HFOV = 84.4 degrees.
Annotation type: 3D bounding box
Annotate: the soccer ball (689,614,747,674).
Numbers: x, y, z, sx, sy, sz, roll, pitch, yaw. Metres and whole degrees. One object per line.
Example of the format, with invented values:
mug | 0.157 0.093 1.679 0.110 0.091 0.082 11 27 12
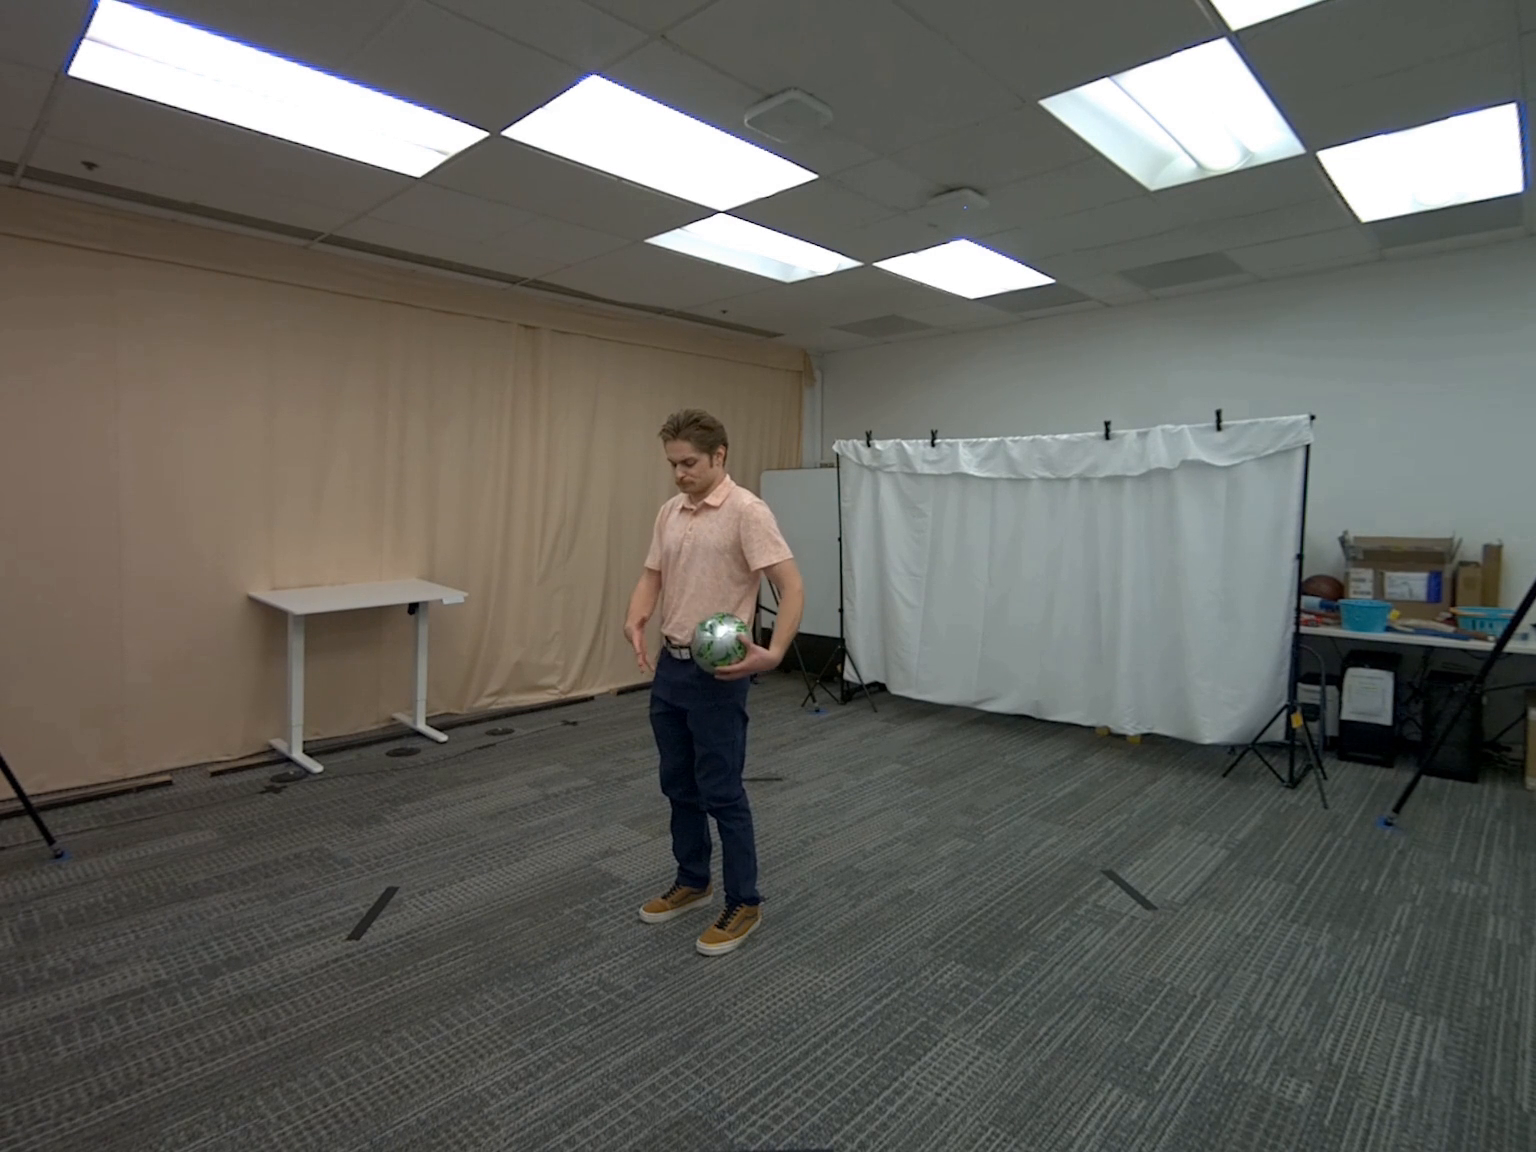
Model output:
soccer ball | -0.133 0.208 2.516 0.187 0.187 0.188 0 4 -2
